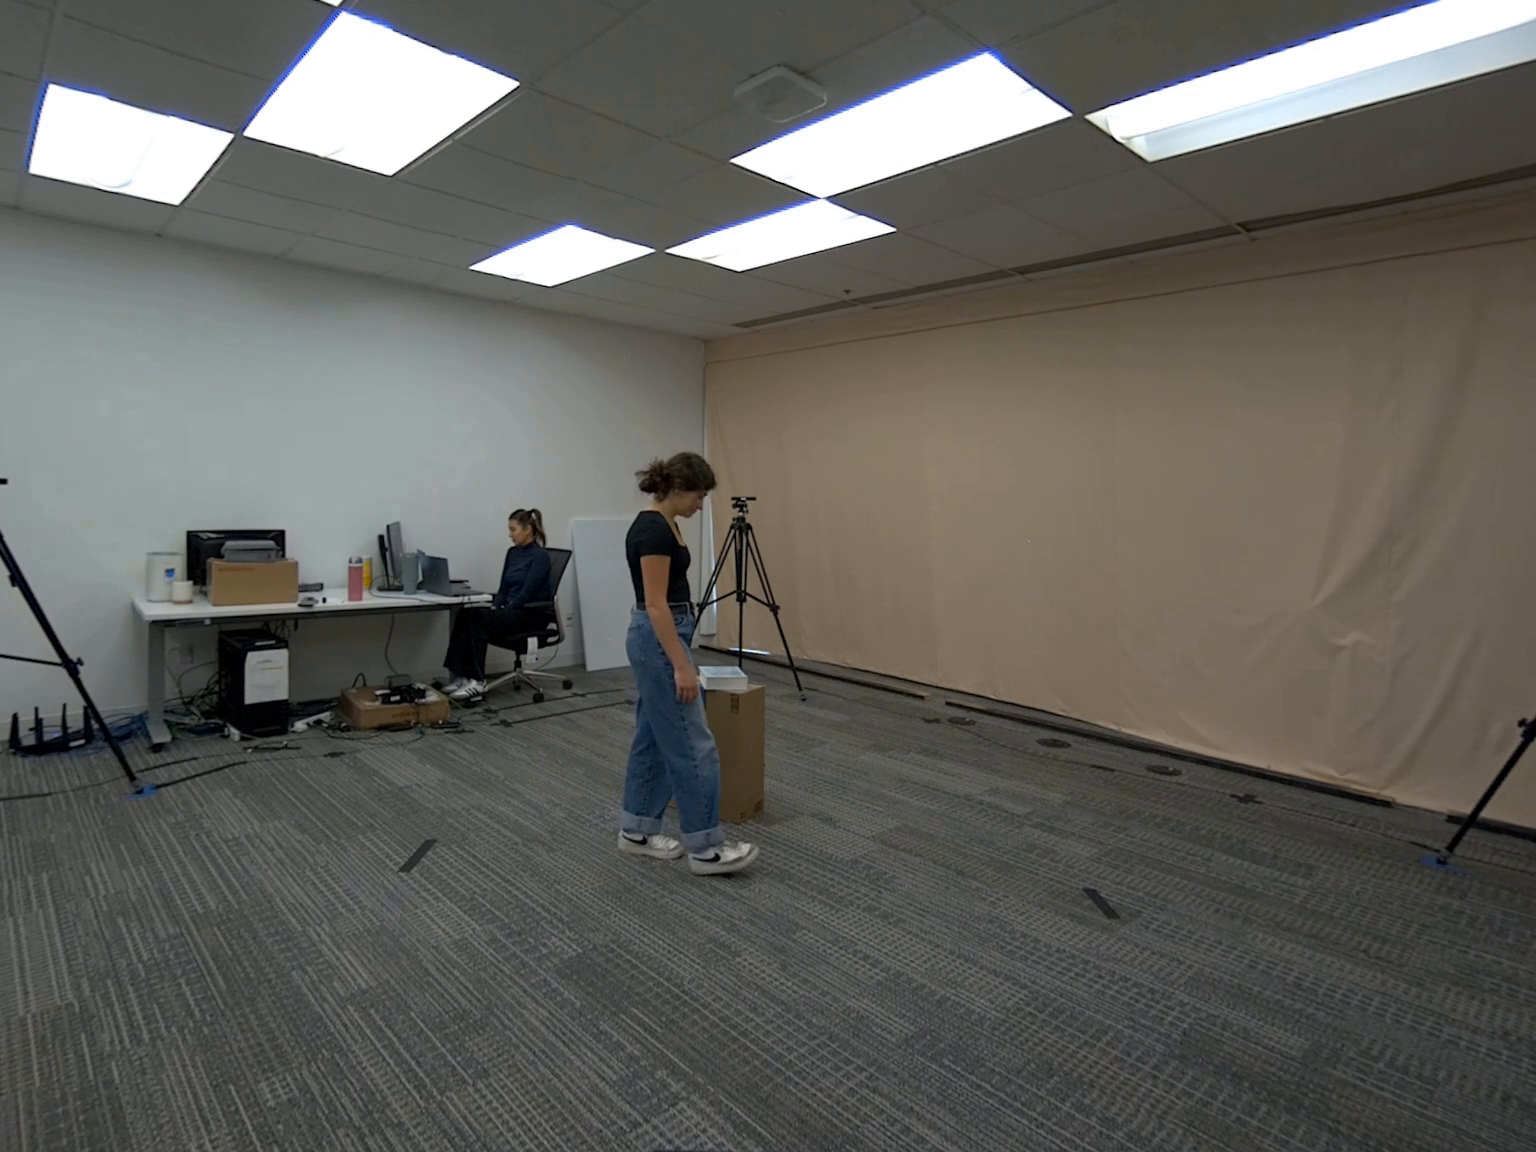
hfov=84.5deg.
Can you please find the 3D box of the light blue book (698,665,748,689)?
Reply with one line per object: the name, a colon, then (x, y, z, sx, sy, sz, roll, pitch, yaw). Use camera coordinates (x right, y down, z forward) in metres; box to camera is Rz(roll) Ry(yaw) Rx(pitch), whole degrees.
light blue book: (-0.209, 0.456, 3.773, 0.190, 0.059, 0.264, 1, 4, -11)
